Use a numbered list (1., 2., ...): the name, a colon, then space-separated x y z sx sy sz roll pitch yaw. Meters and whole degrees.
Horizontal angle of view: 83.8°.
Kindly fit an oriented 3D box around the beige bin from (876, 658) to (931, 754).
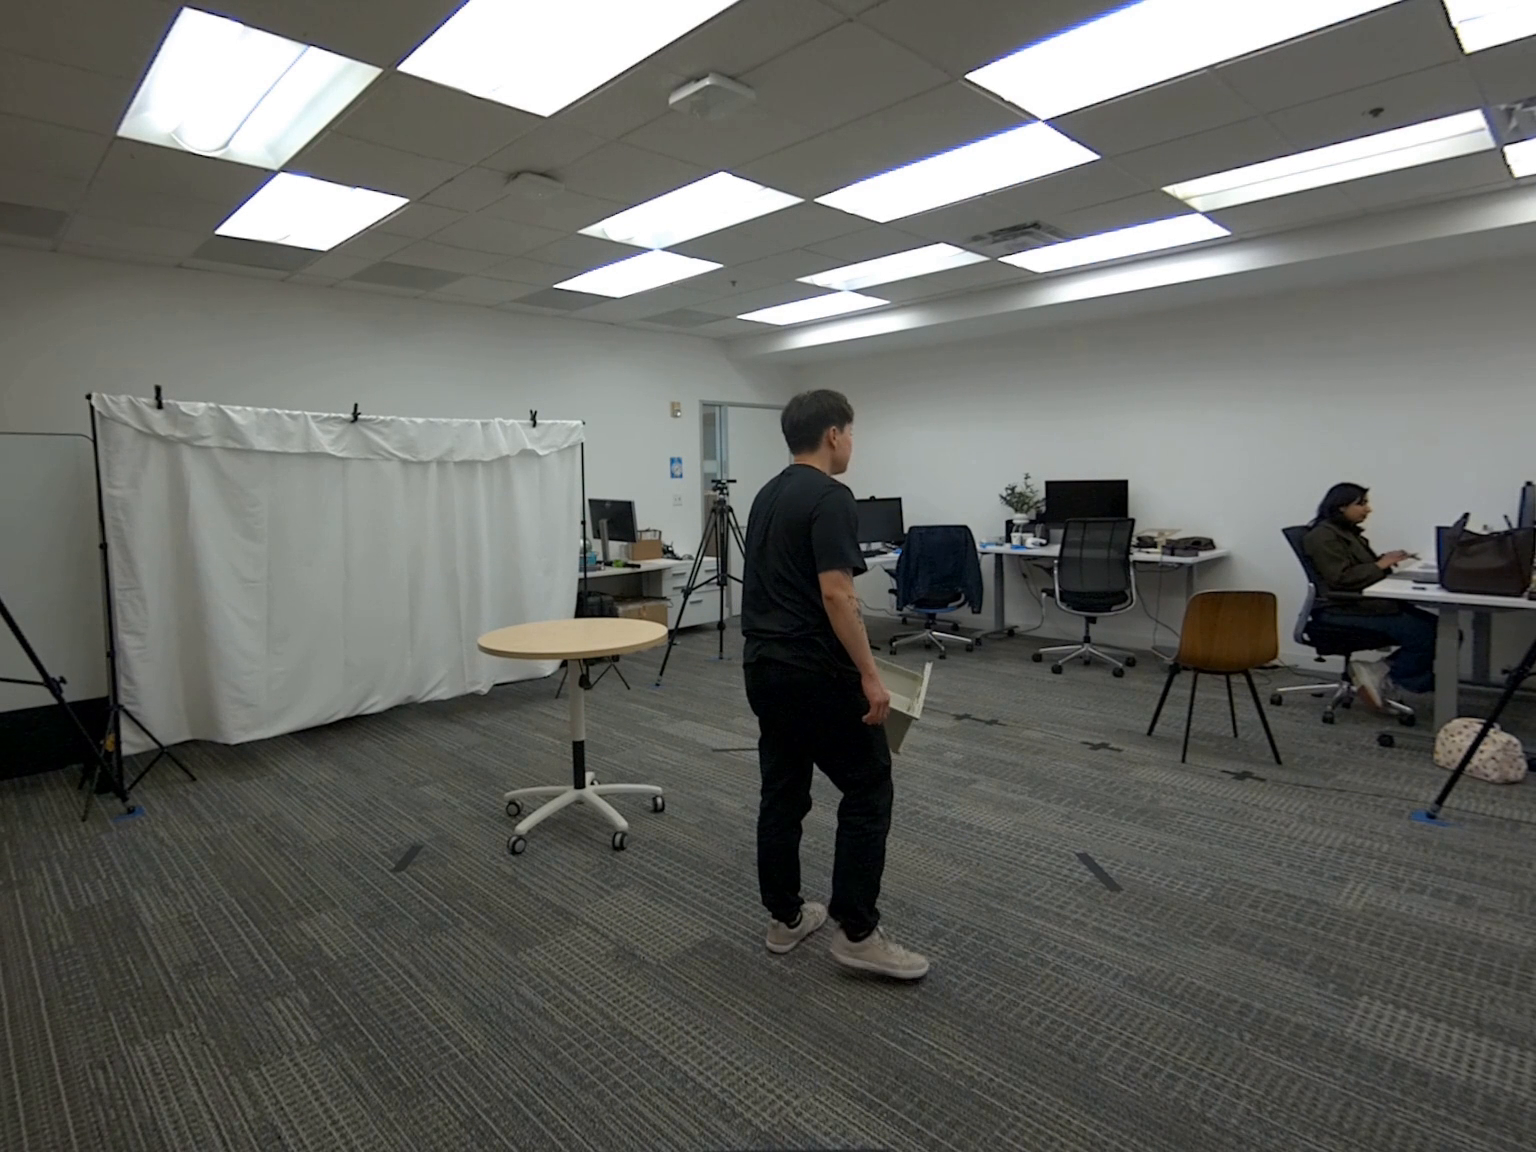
1. beige bin: 0.330 0.367 2.958 0.428 0.186 0.378 20 31 10
